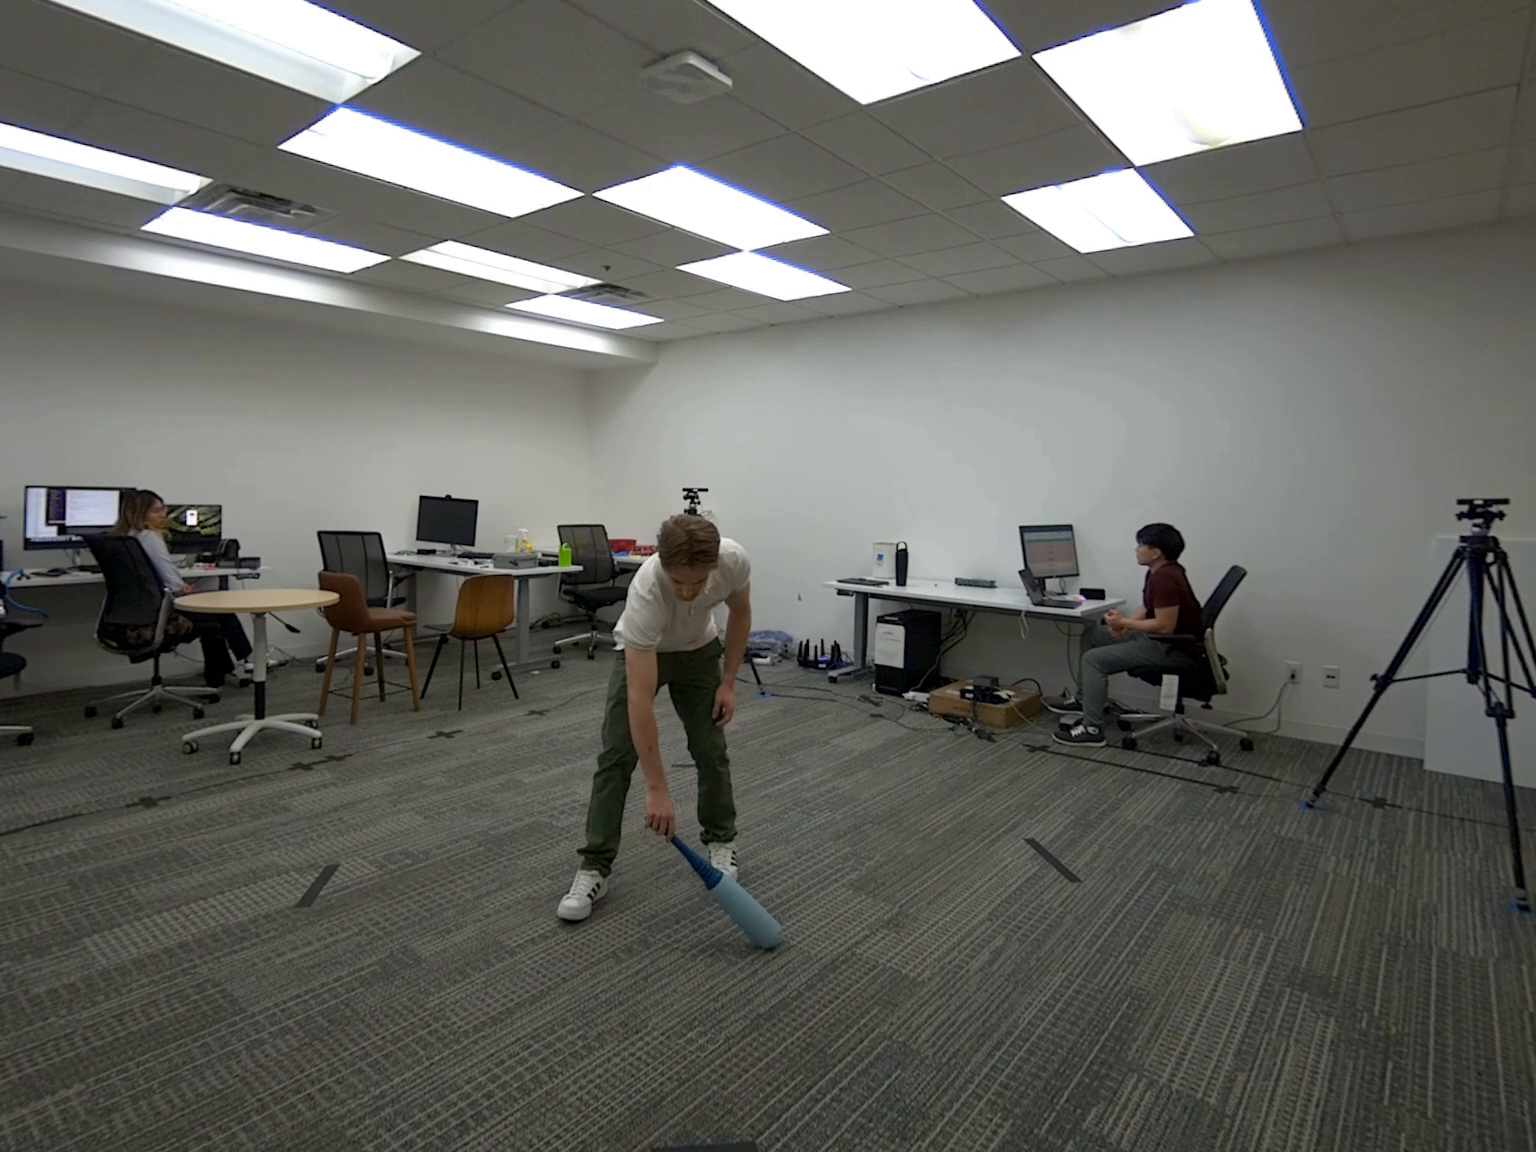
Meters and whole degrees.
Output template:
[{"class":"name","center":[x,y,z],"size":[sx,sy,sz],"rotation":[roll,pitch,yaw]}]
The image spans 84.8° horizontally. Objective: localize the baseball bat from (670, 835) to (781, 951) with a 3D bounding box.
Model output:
[{"class":"baseball bat","center":[-0.183,0.911,2.578],"size":[0.089,0.541,0.089],"rotation":[-44,2,2]}]
